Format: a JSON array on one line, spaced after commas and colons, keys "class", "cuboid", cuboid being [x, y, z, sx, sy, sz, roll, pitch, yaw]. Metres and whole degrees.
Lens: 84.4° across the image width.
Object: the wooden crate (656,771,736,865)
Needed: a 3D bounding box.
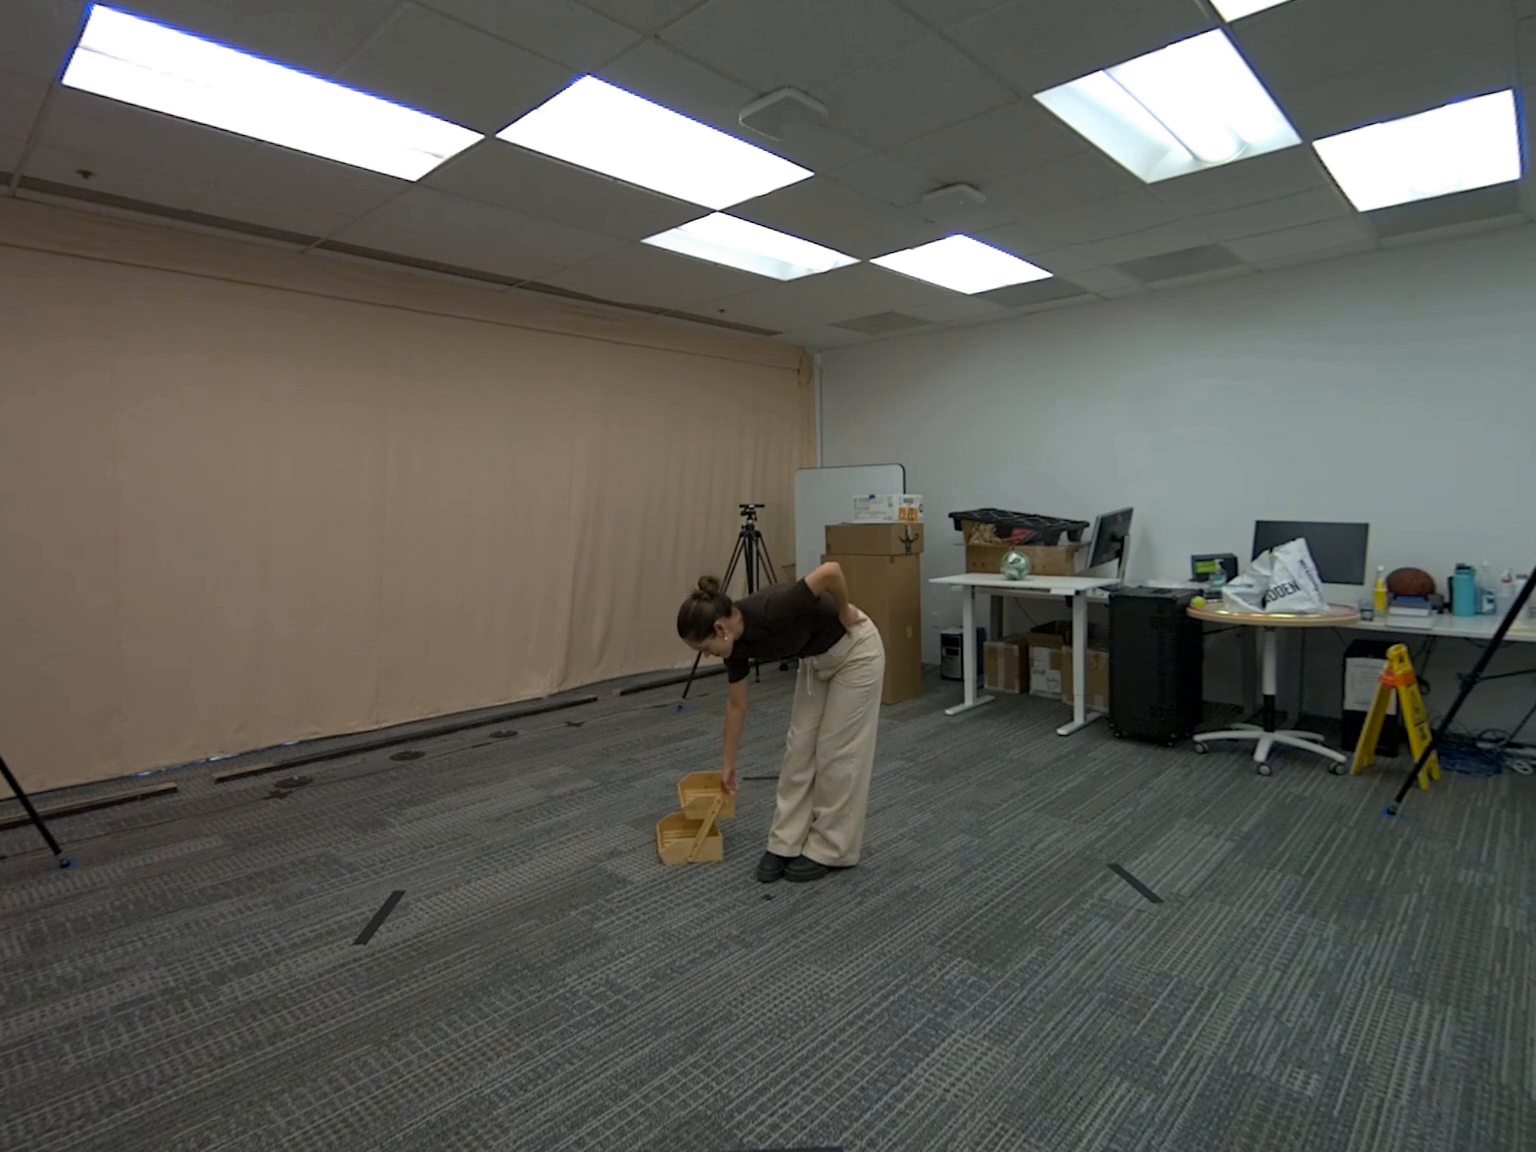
[{"class": "wooden crate", "cuboid": [-0.308, 0.974, 3.430, 0.300, 0.272, 0.328, -2, 4, -8]}]
